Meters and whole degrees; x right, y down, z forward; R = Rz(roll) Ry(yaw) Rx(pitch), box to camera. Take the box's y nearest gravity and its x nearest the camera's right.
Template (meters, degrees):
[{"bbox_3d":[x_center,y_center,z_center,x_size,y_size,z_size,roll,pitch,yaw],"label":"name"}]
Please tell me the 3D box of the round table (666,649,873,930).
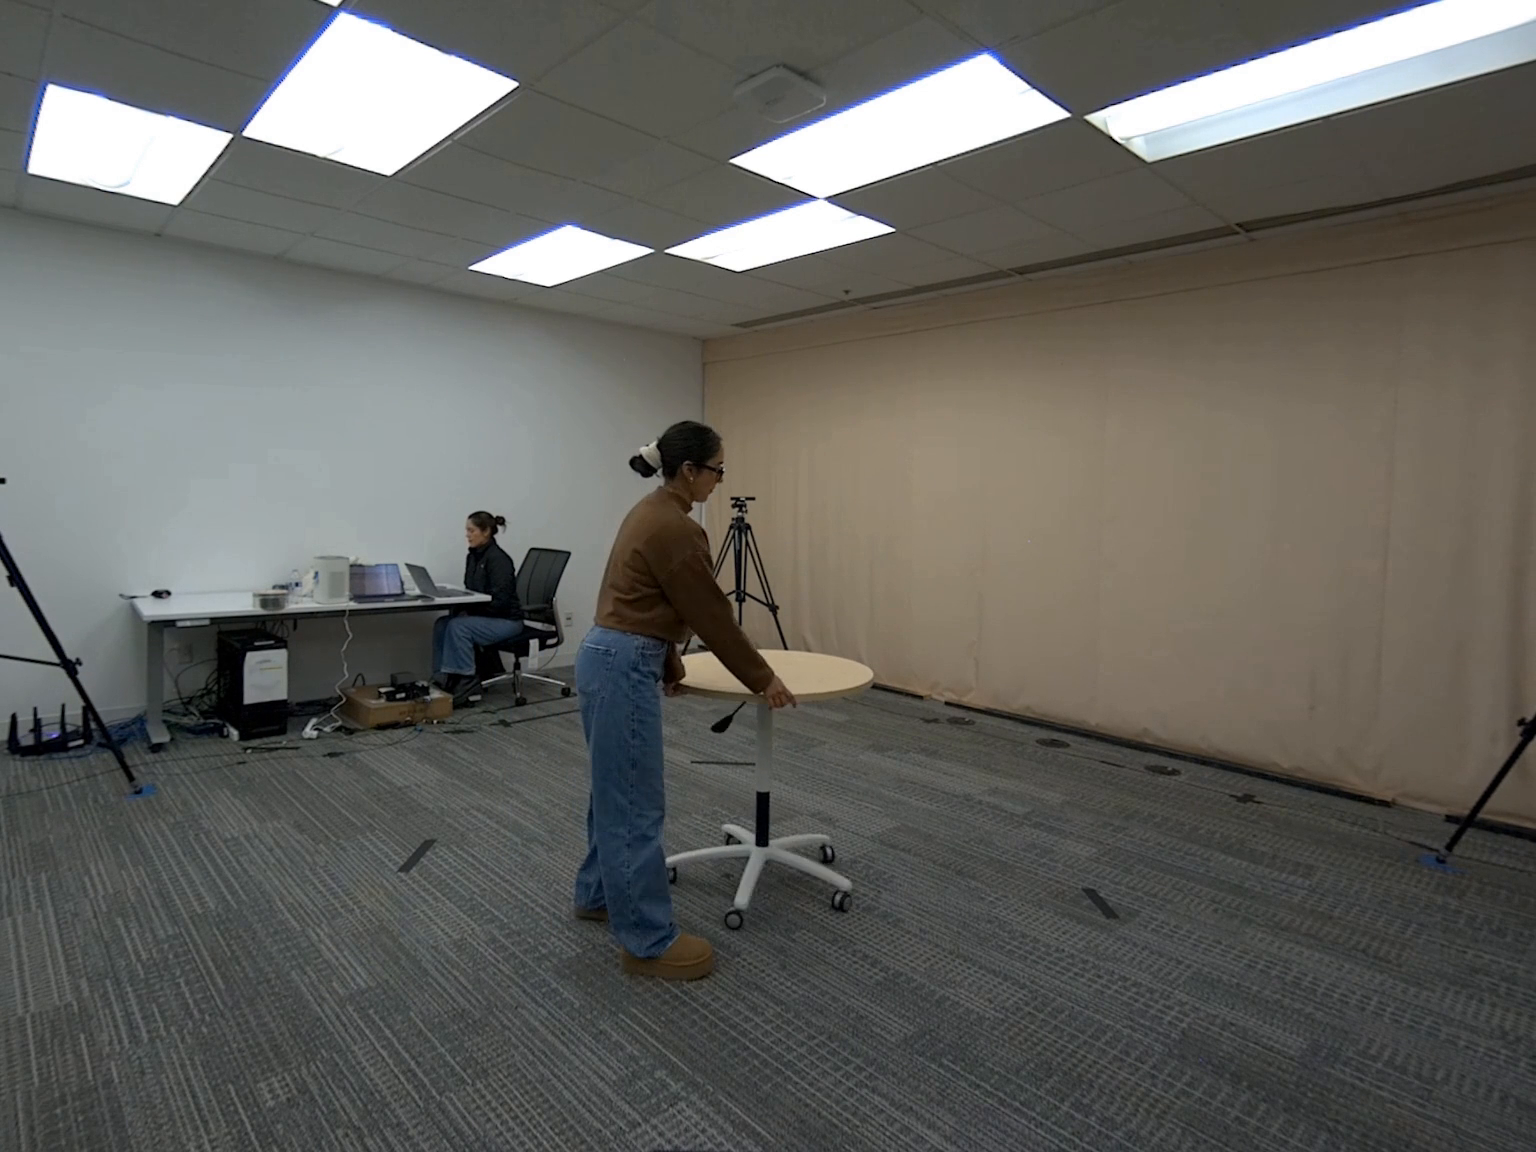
[{"bbox_3d":[-0.030,0.723,3.023,0.784,0.784,0.788,1,4,-1],"label":"round table"}]
